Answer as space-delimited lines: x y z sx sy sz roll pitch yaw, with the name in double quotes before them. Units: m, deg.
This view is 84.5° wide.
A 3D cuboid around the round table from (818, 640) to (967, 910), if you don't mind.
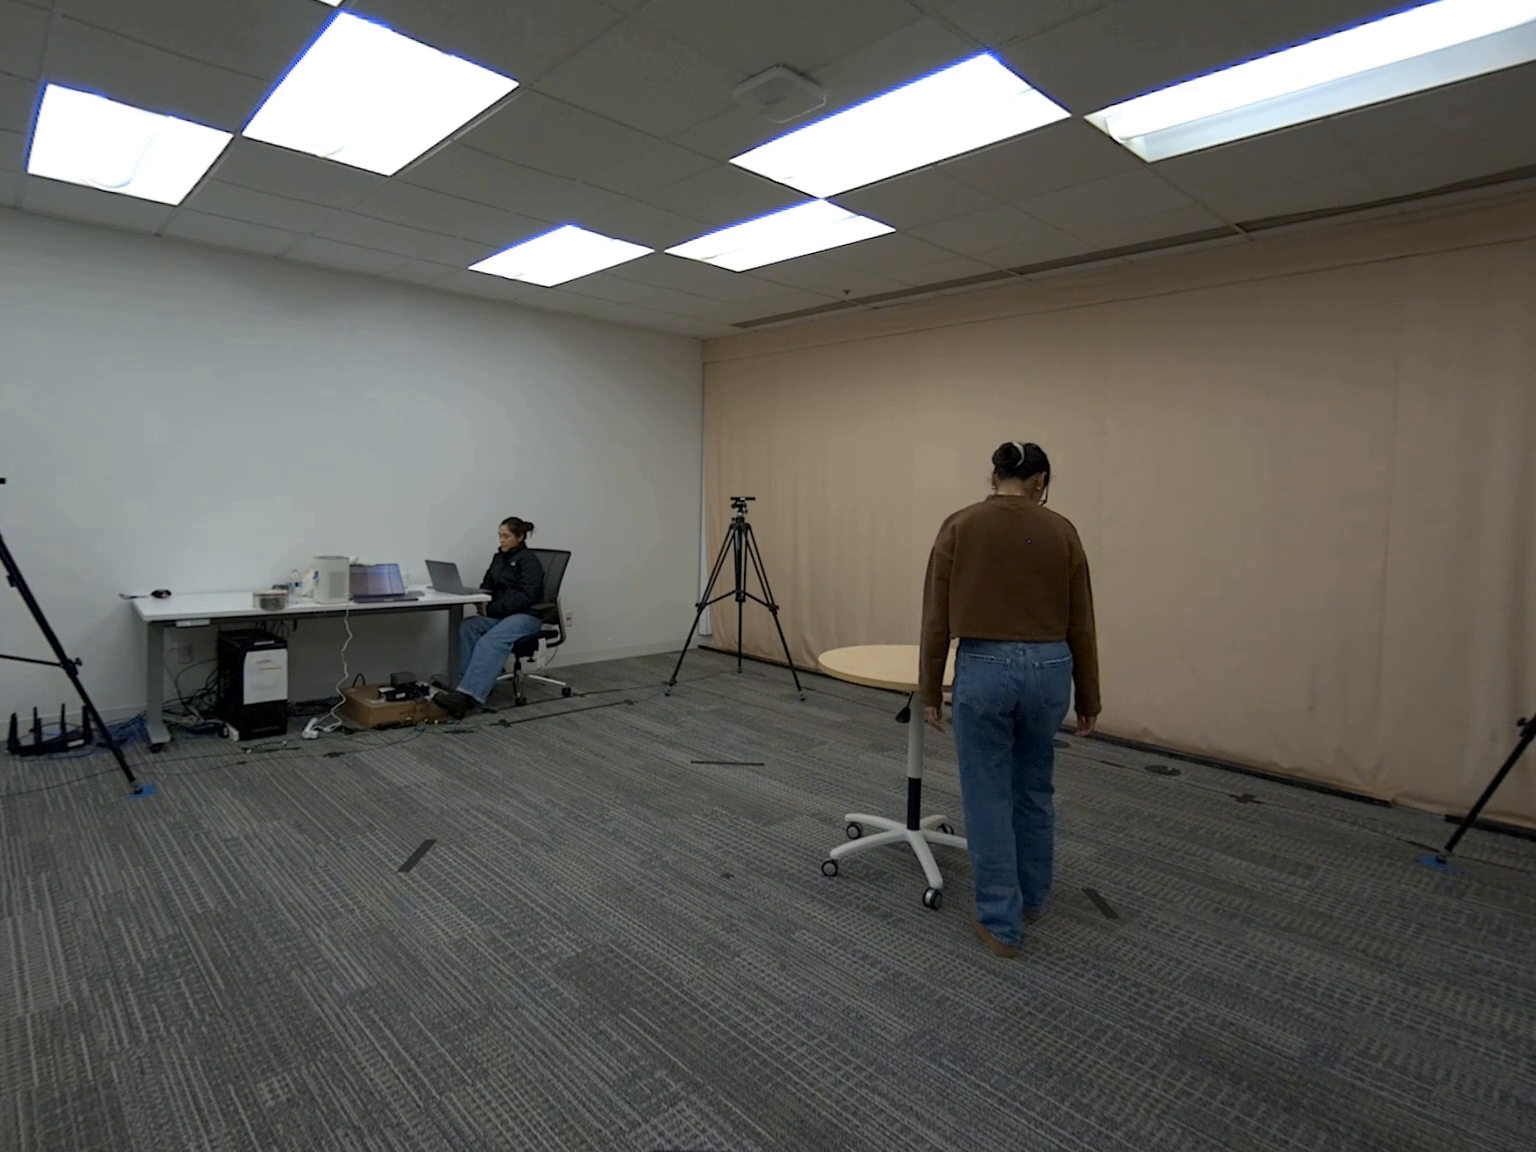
"round table" 0.553 0.725 3.224 0.763 0.792 0.766 1 4 -1
